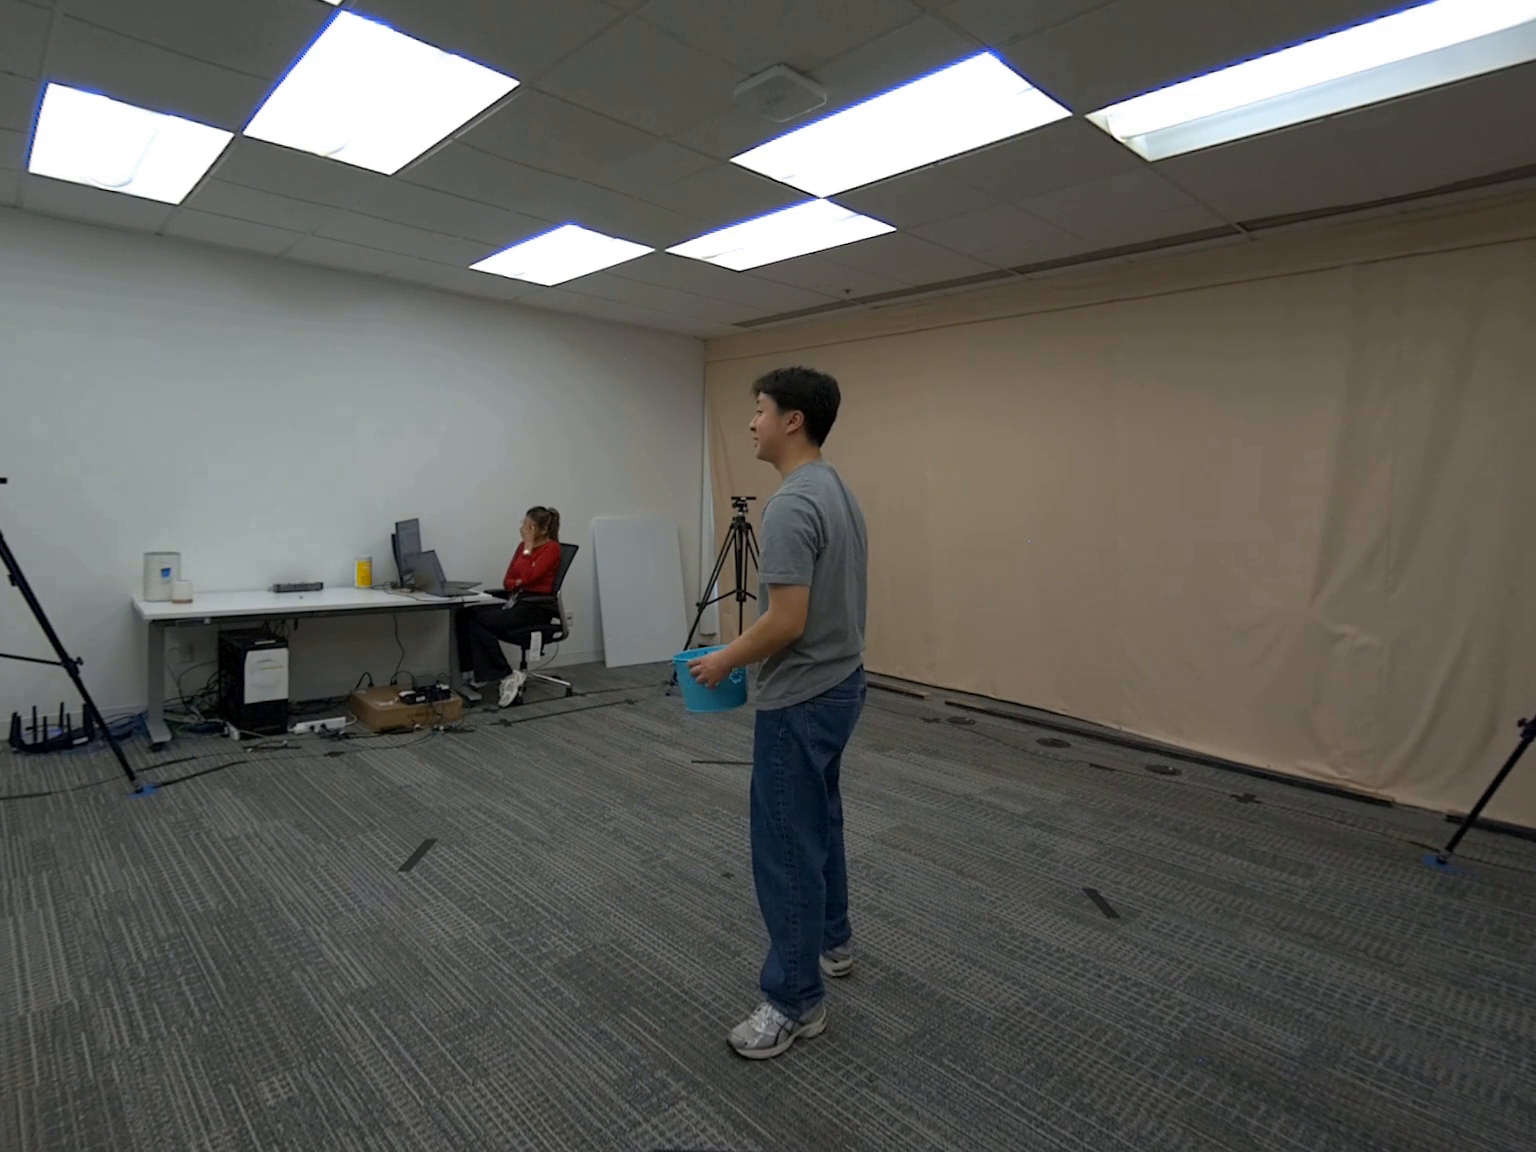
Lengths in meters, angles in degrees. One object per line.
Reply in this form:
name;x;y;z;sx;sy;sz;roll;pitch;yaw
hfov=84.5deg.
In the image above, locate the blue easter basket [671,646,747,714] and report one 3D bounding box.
blue easter basket;-0.151;0.299;2.418;0.243;0.155;0.244;-5;5;-1
